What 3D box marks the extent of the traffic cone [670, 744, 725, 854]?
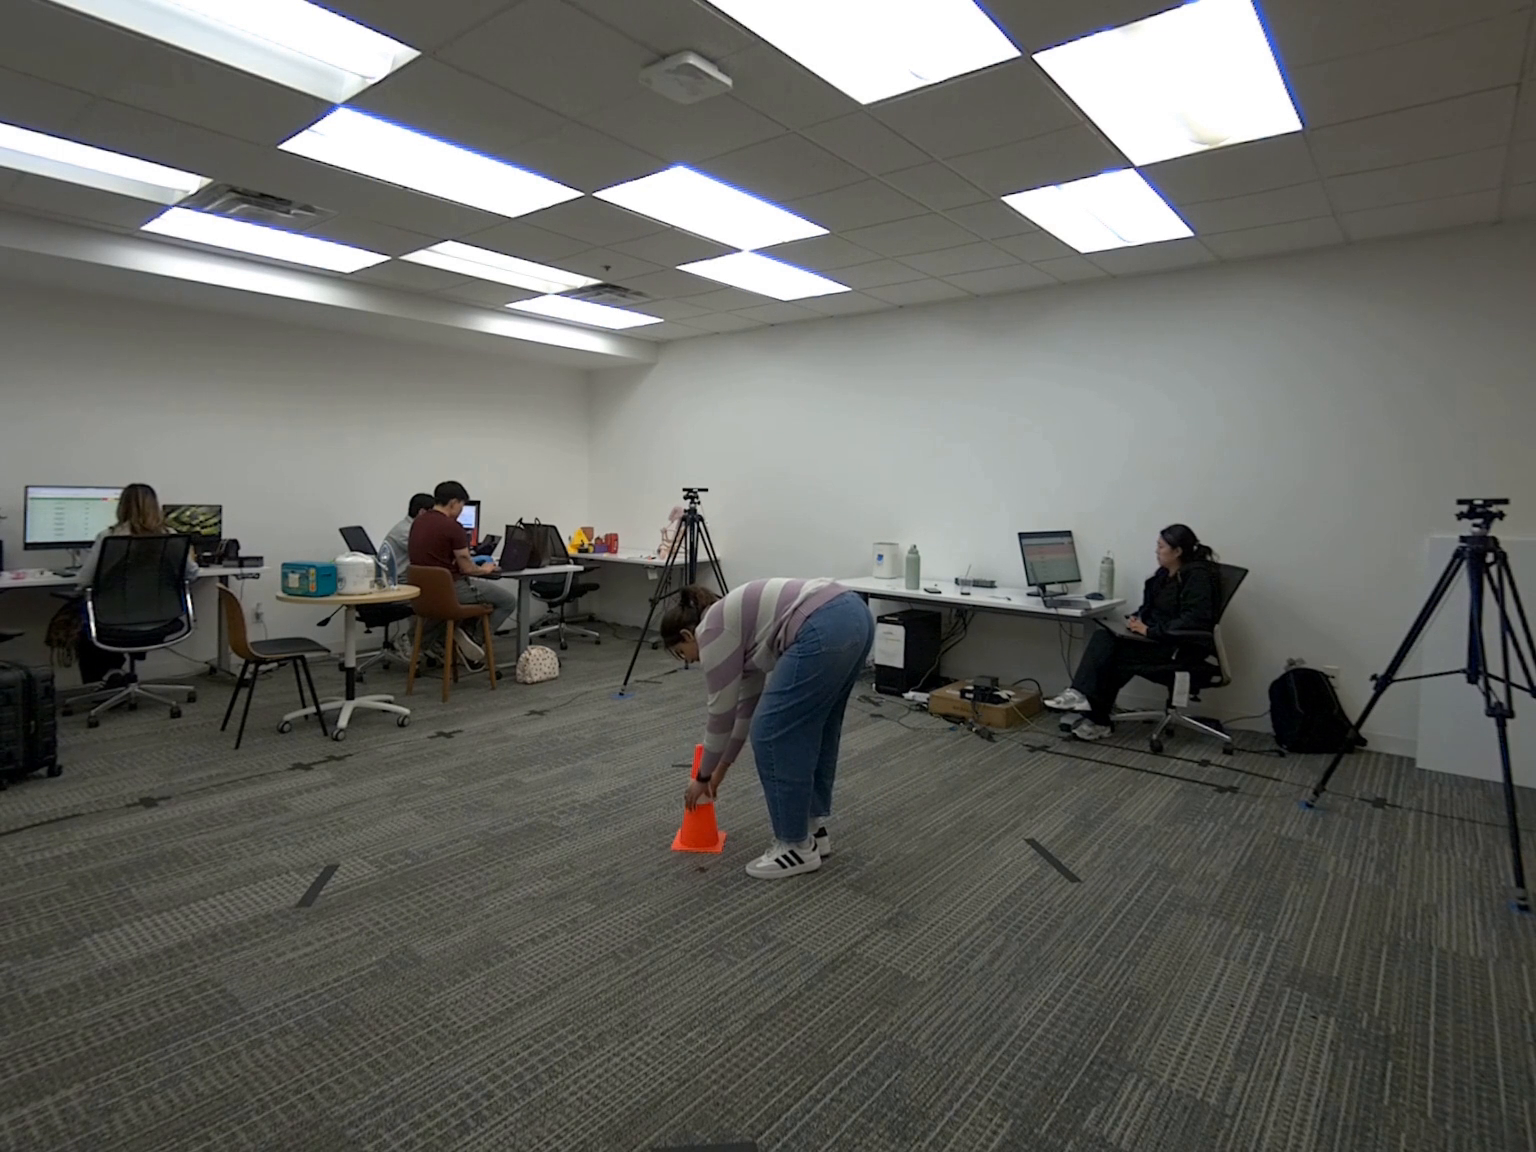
[{"bbox_3d":[-0.267,0.864,3.358,0.206,0.382,0.203,3,4,5],"label":"traffic cone"}]
